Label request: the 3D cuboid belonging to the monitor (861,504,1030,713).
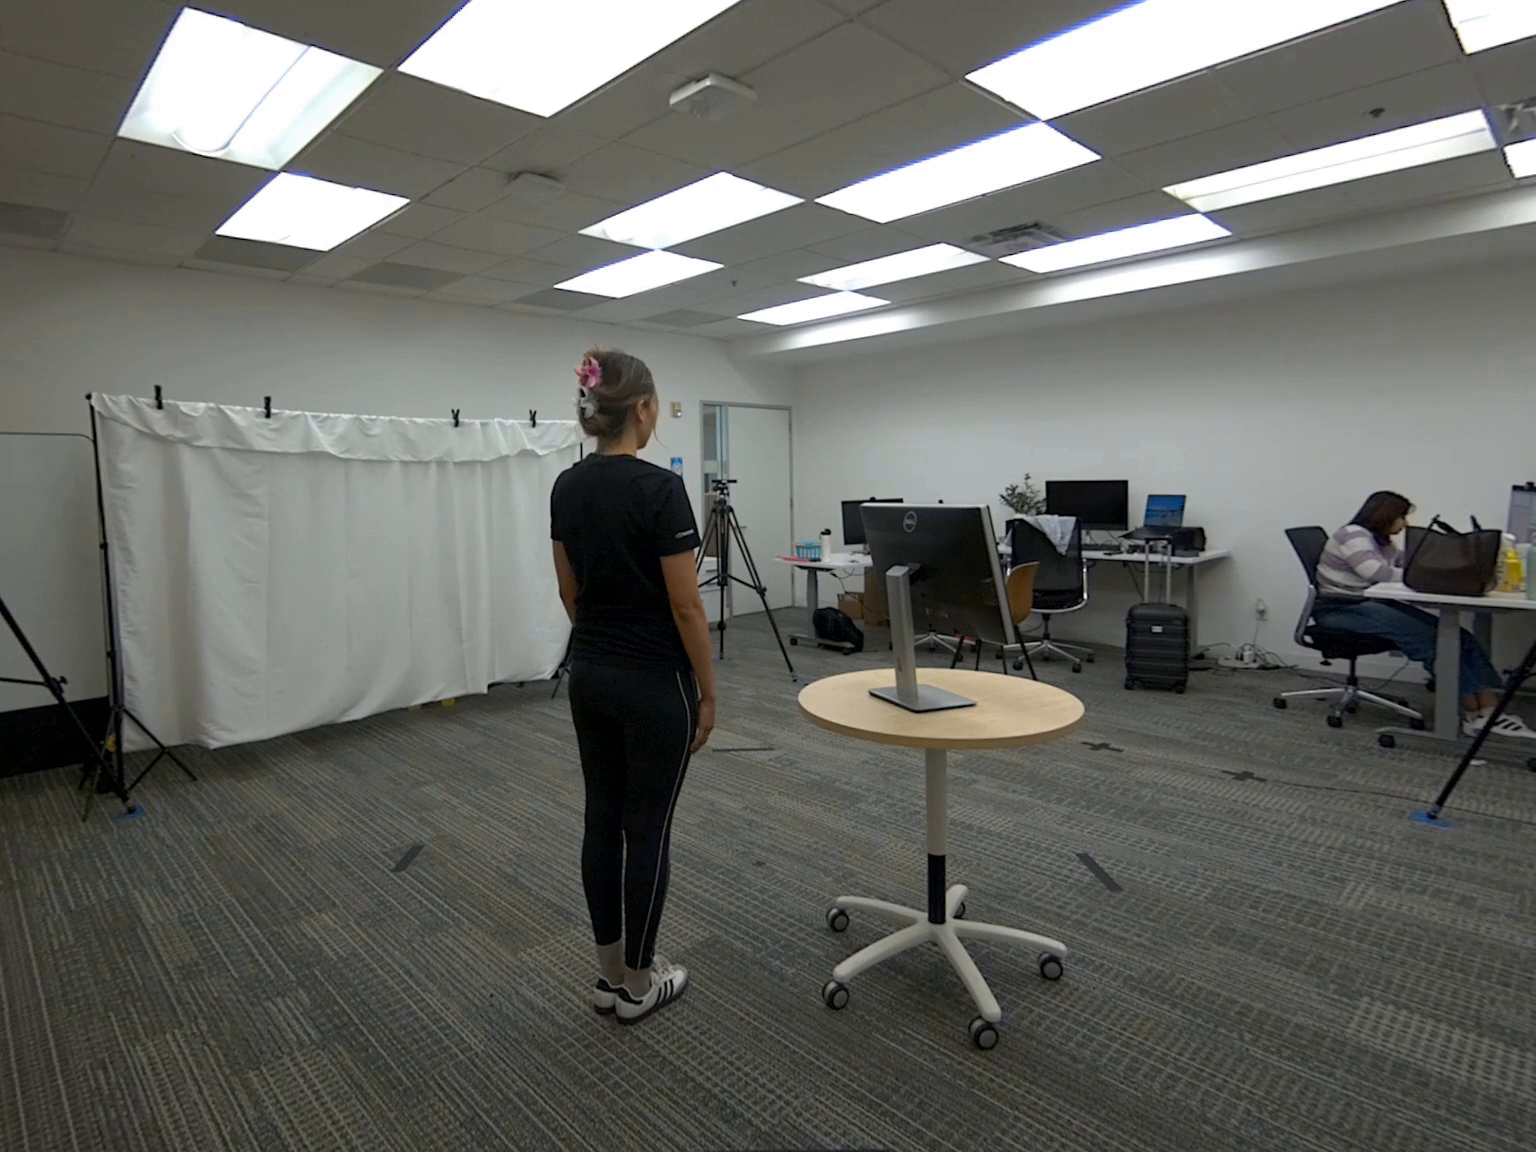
[{"bbox_3d":[0.423,0.079,2.350,0.183,0.521,0.553,-3,4,-27],"label":"monitor"}]
